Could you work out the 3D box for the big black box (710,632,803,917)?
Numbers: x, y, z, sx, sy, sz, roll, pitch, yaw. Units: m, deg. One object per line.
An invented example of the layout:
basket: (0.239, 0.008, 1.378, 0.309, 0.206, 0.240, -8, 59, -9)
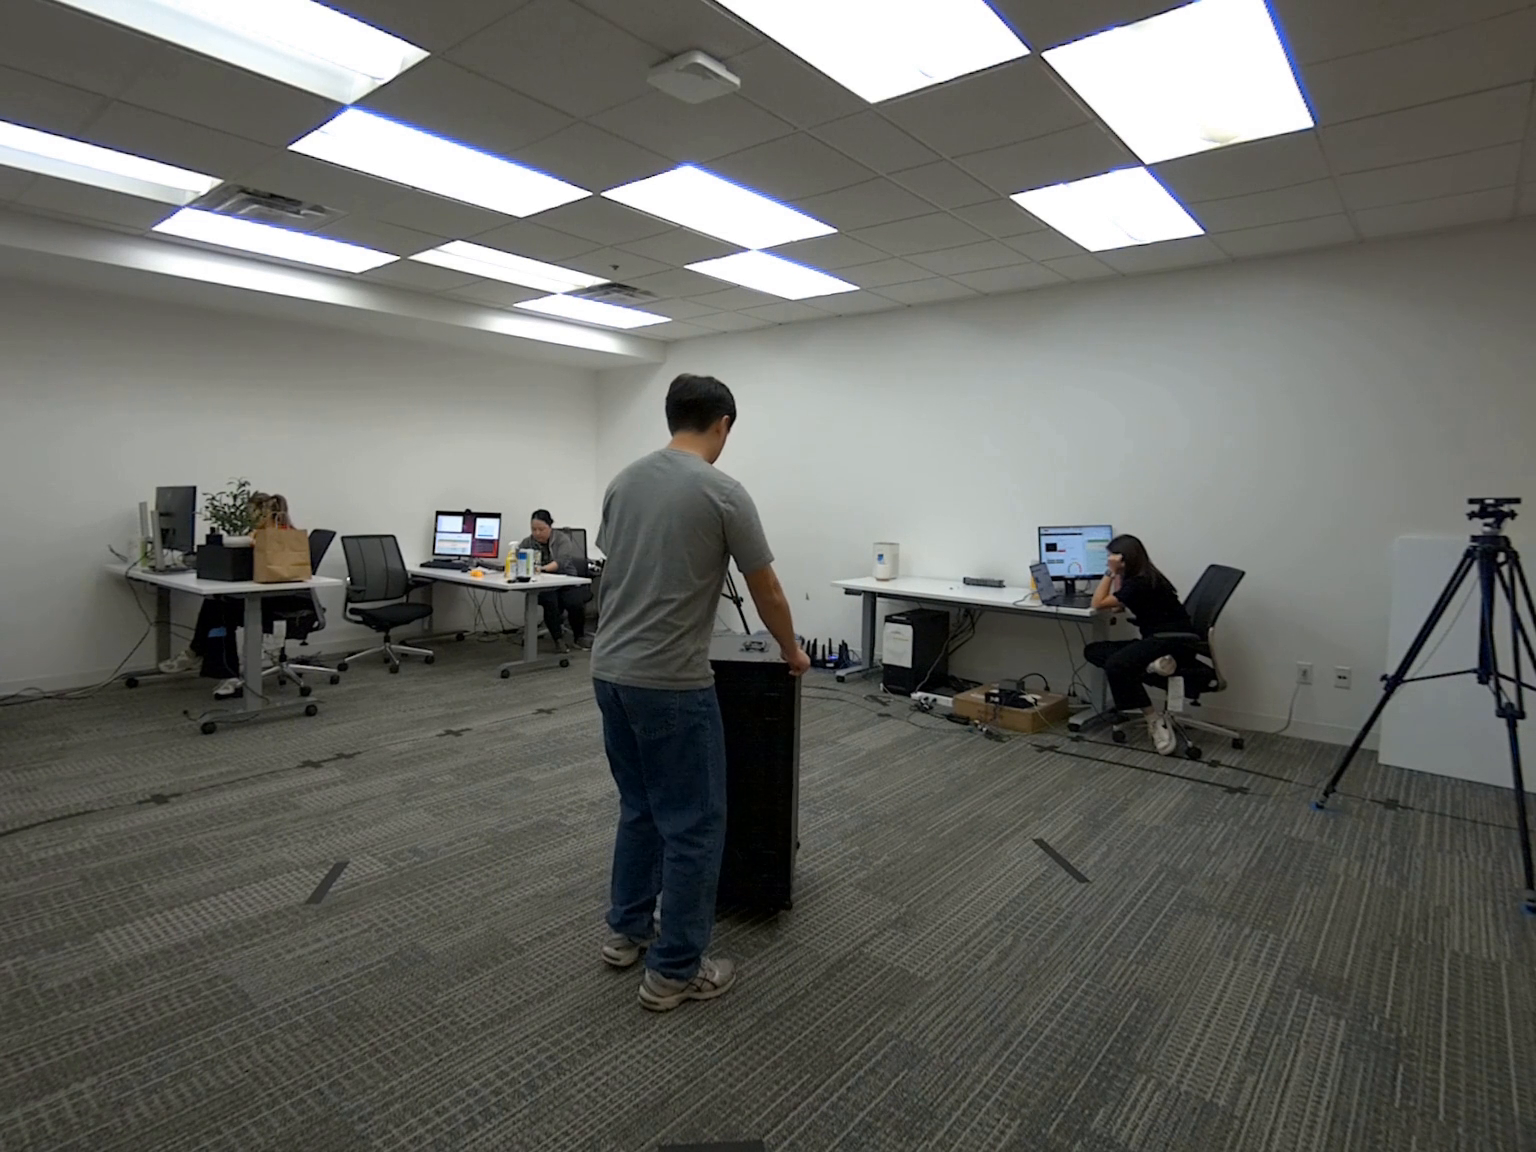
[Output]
big black box: (-0.095, 0.667, 2.904, 0.400, 0.858, 0.518, 1, 4, 7)
